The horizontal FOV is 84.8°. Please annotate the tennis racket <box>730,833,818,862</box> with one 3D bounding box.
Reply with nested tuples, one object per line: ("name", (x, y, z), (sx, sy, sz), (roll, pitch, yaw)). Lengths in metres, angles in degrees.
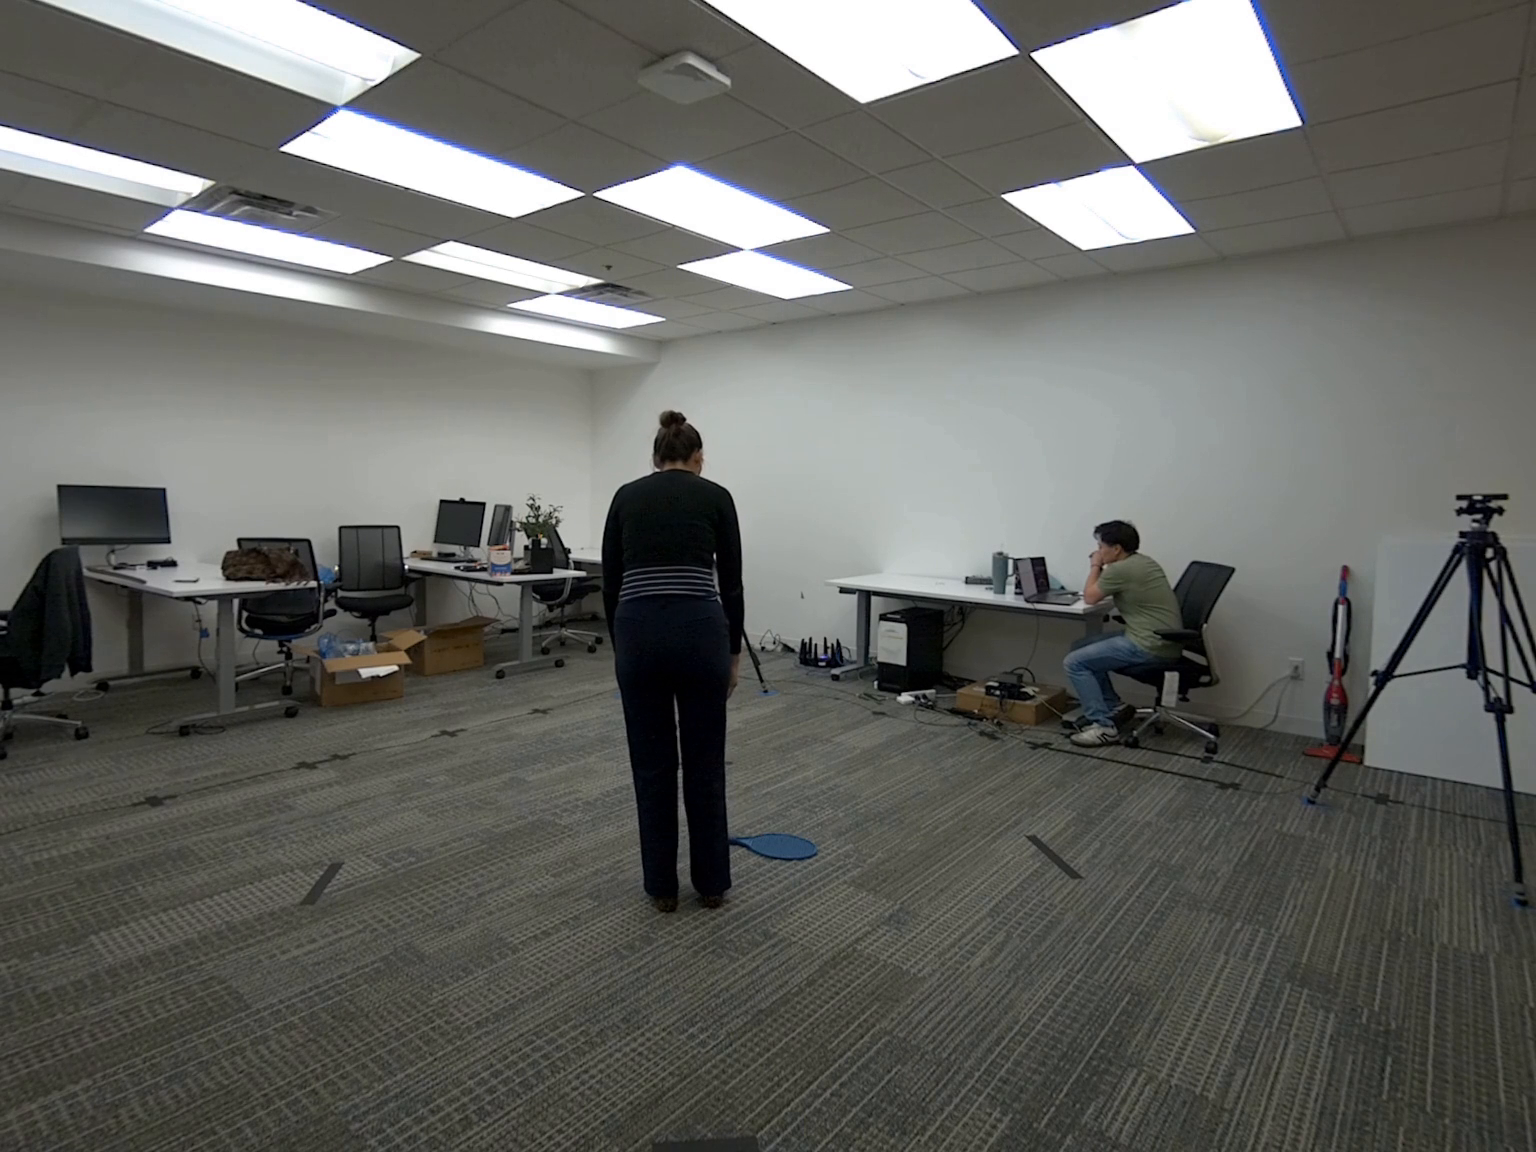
("tennis racket", (-0.035, 1.034, 3.299), (0.437, 0.031, 0.213), (3, 6, 8))
